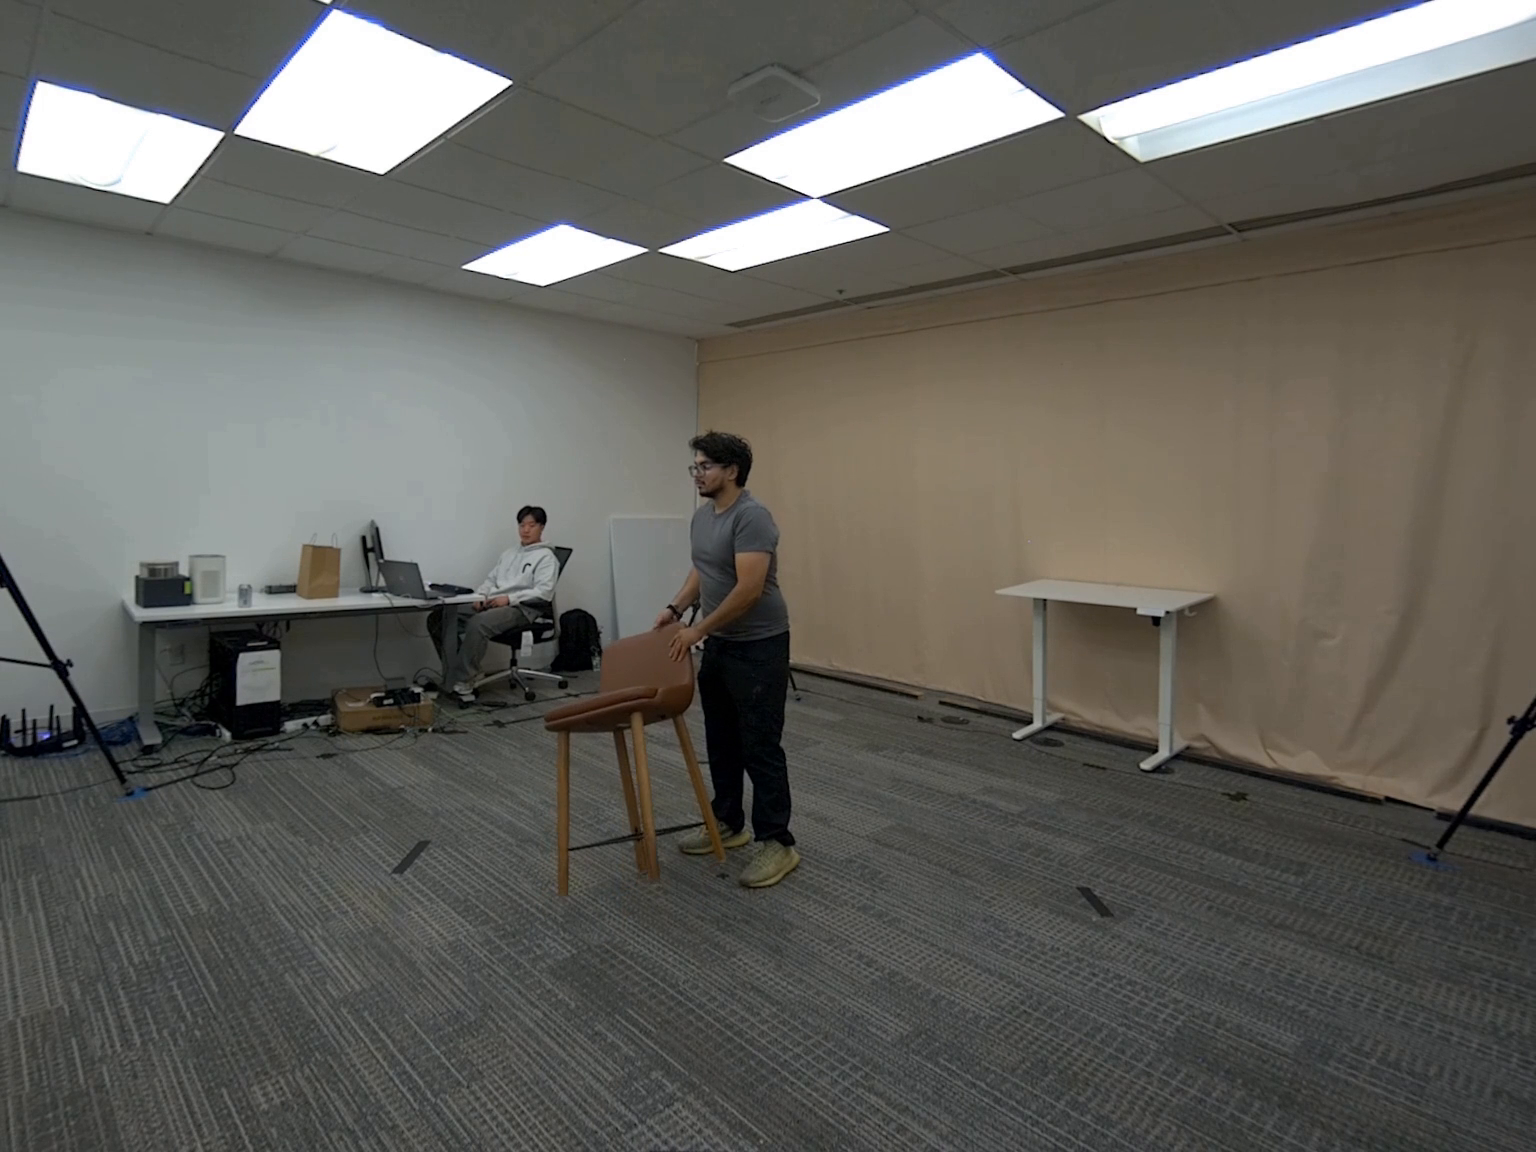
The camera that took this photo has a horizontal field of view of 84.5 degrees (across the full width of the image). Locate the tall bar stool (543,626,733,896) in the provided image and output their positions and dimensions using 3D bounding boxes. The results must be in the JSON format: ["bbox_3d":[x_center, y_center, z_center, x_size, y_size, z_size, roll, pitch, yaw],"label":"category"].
[{"bbox_3d":[-0.493,0.612,2.975,0.462,0.903,0.455,-19,-19,27],"label":"tall bar stool"}]
